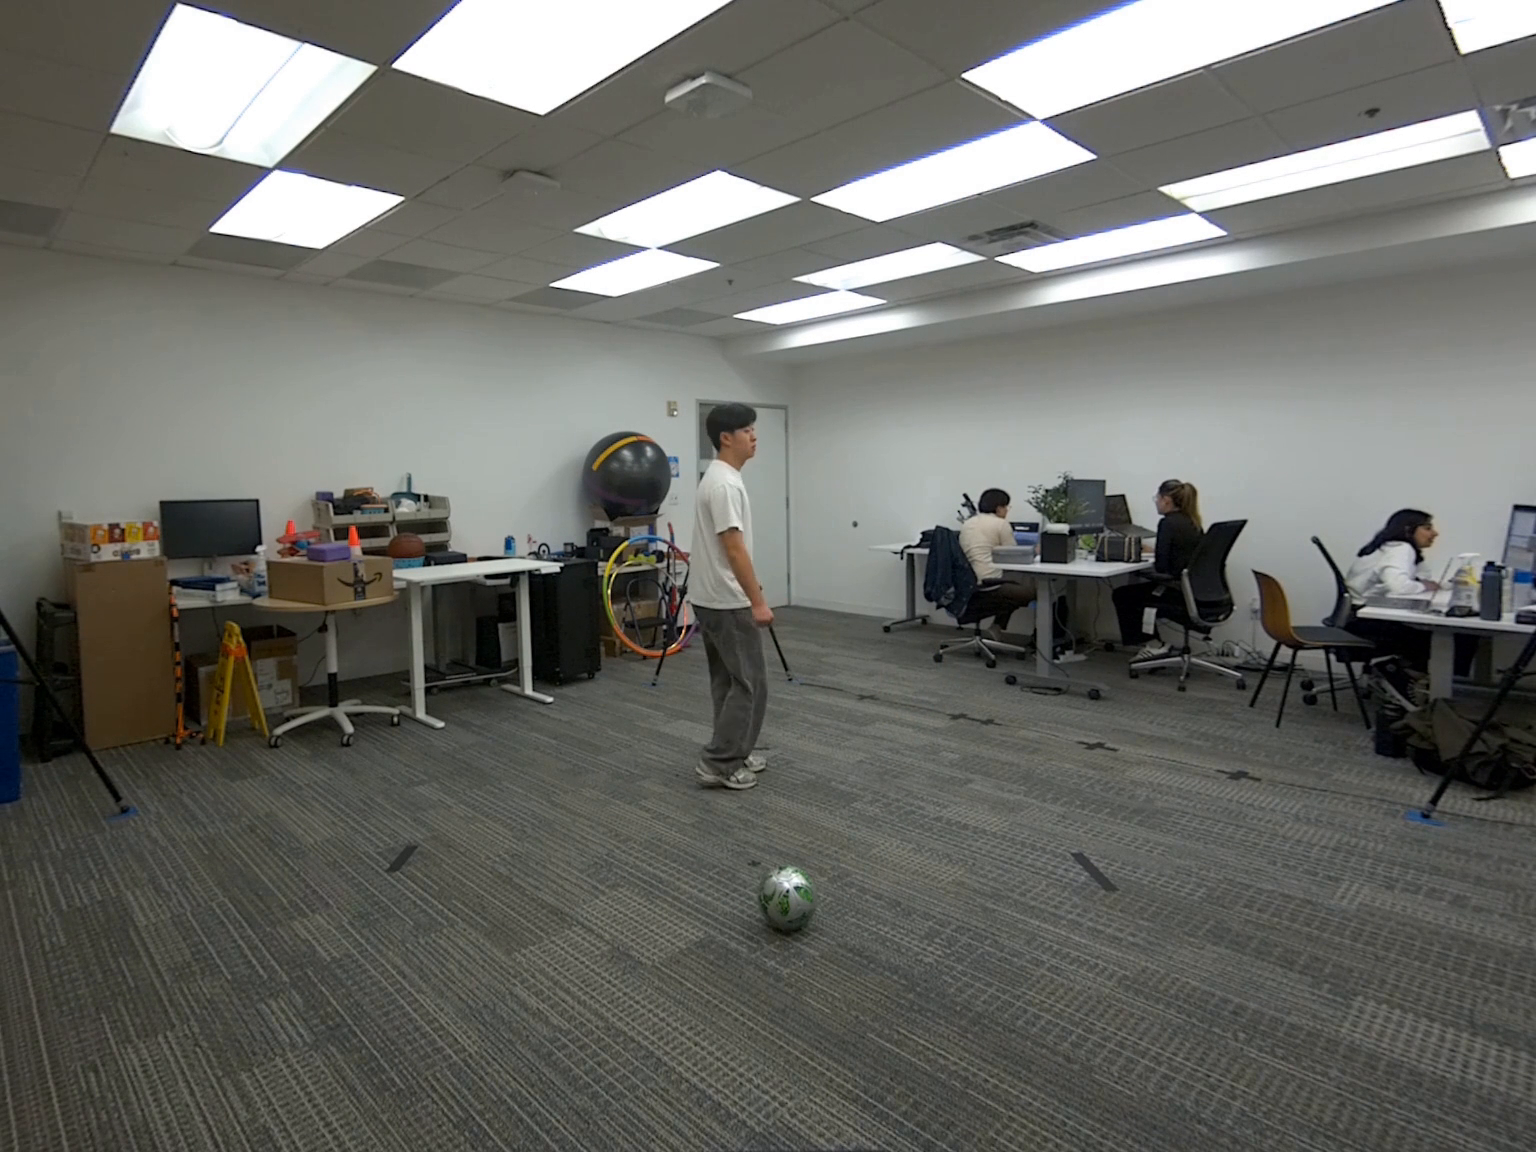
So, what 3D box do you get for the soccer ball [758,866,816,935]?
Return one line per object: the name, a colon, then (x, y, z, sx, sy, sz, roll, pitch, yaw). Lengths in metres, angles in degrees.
soccer ball: (0.060, 1.004, 2.669, 0.187, 0.187, 0.188, -1, 5, -2)
